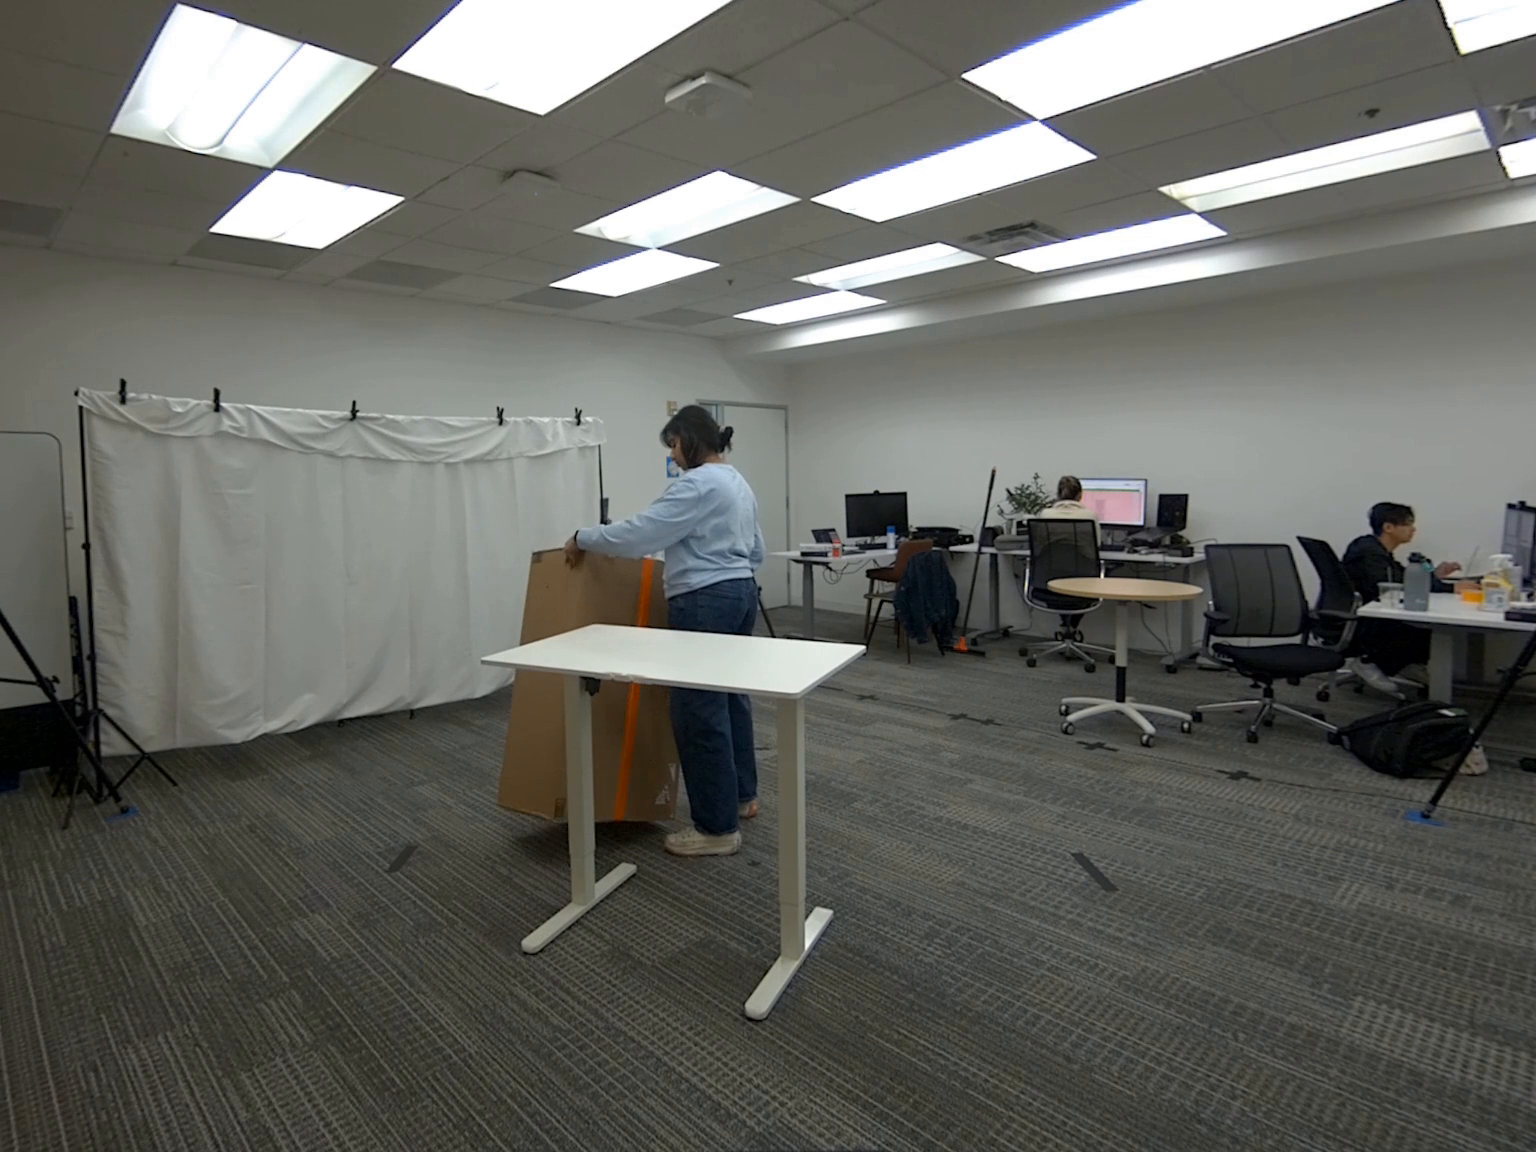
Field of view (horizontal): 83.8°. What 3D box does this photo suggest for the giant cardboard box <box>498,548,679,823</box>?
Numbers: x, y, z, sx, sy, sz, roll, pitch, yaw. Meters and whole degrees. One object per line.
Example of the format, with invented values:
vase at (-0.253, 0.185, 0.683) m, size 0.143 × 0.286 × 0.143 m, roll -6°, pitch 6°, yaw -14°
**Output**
giant cardboard box at (-0.684, 0.440, 3.499) m, size 0.437 × 1.036 × 0.557 m, roll -7°, pitch -16°, yaw 44°
